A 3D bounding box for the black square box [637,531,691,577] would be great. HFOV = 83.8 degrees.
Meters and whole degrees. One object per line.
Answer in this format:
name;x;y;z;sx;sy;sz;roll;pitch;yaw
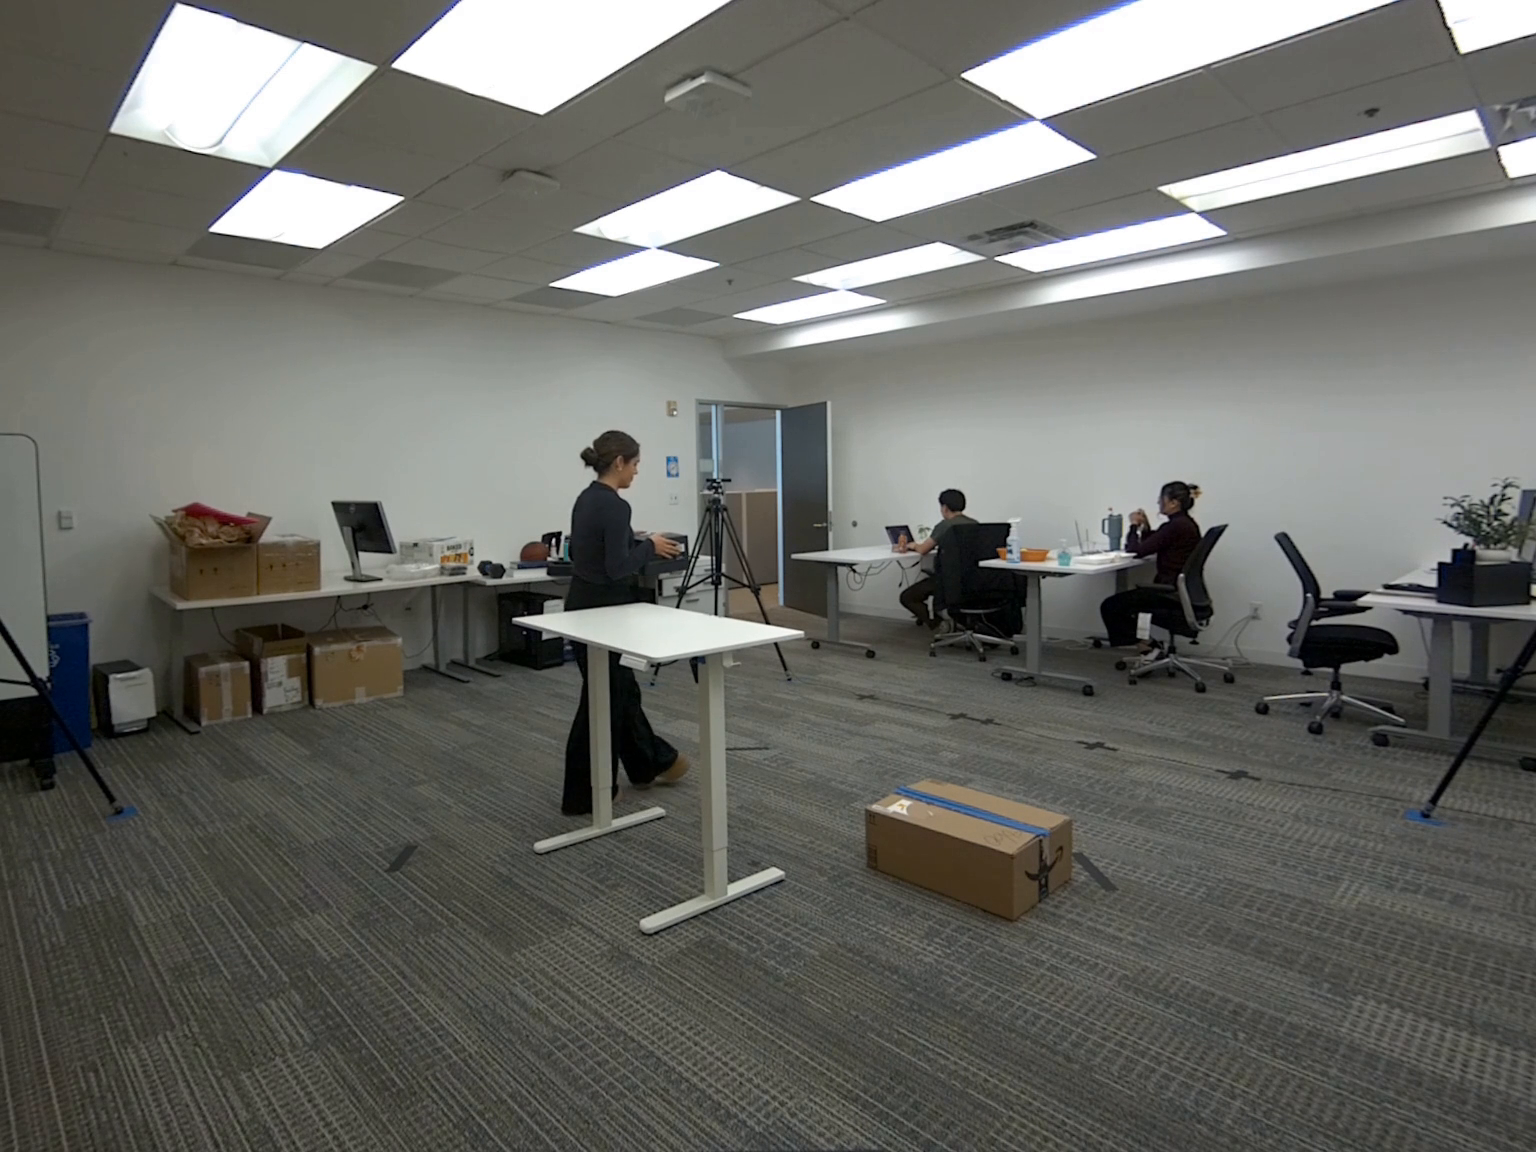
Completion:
black square box;-0.498;-0.105;3.815;0.212;0.155;0.234;-8;9;-28
